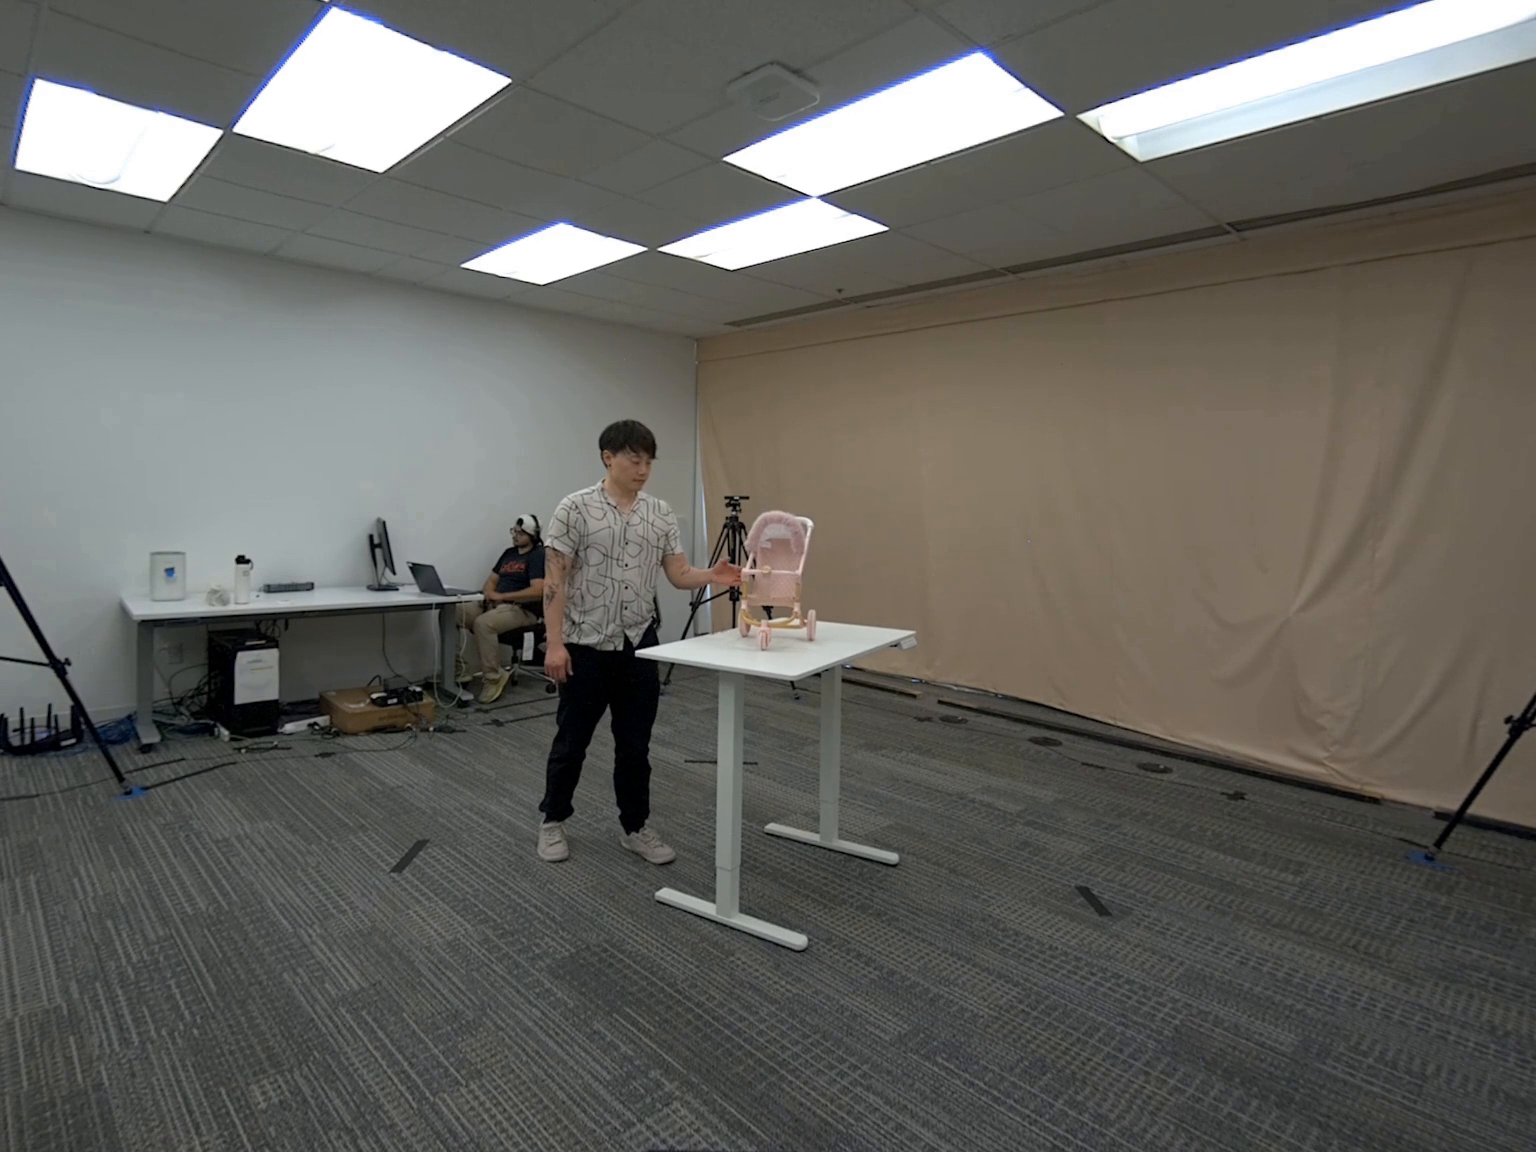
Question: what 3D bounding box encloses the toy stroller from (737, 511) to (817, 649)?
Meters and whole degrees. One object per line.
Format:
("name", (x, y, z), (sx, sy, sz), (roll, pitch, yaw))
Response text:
("toy stroller", (0.017, 0.010, 3.002), (0.285, 0.539, 0.334), (2, -10, 16))
